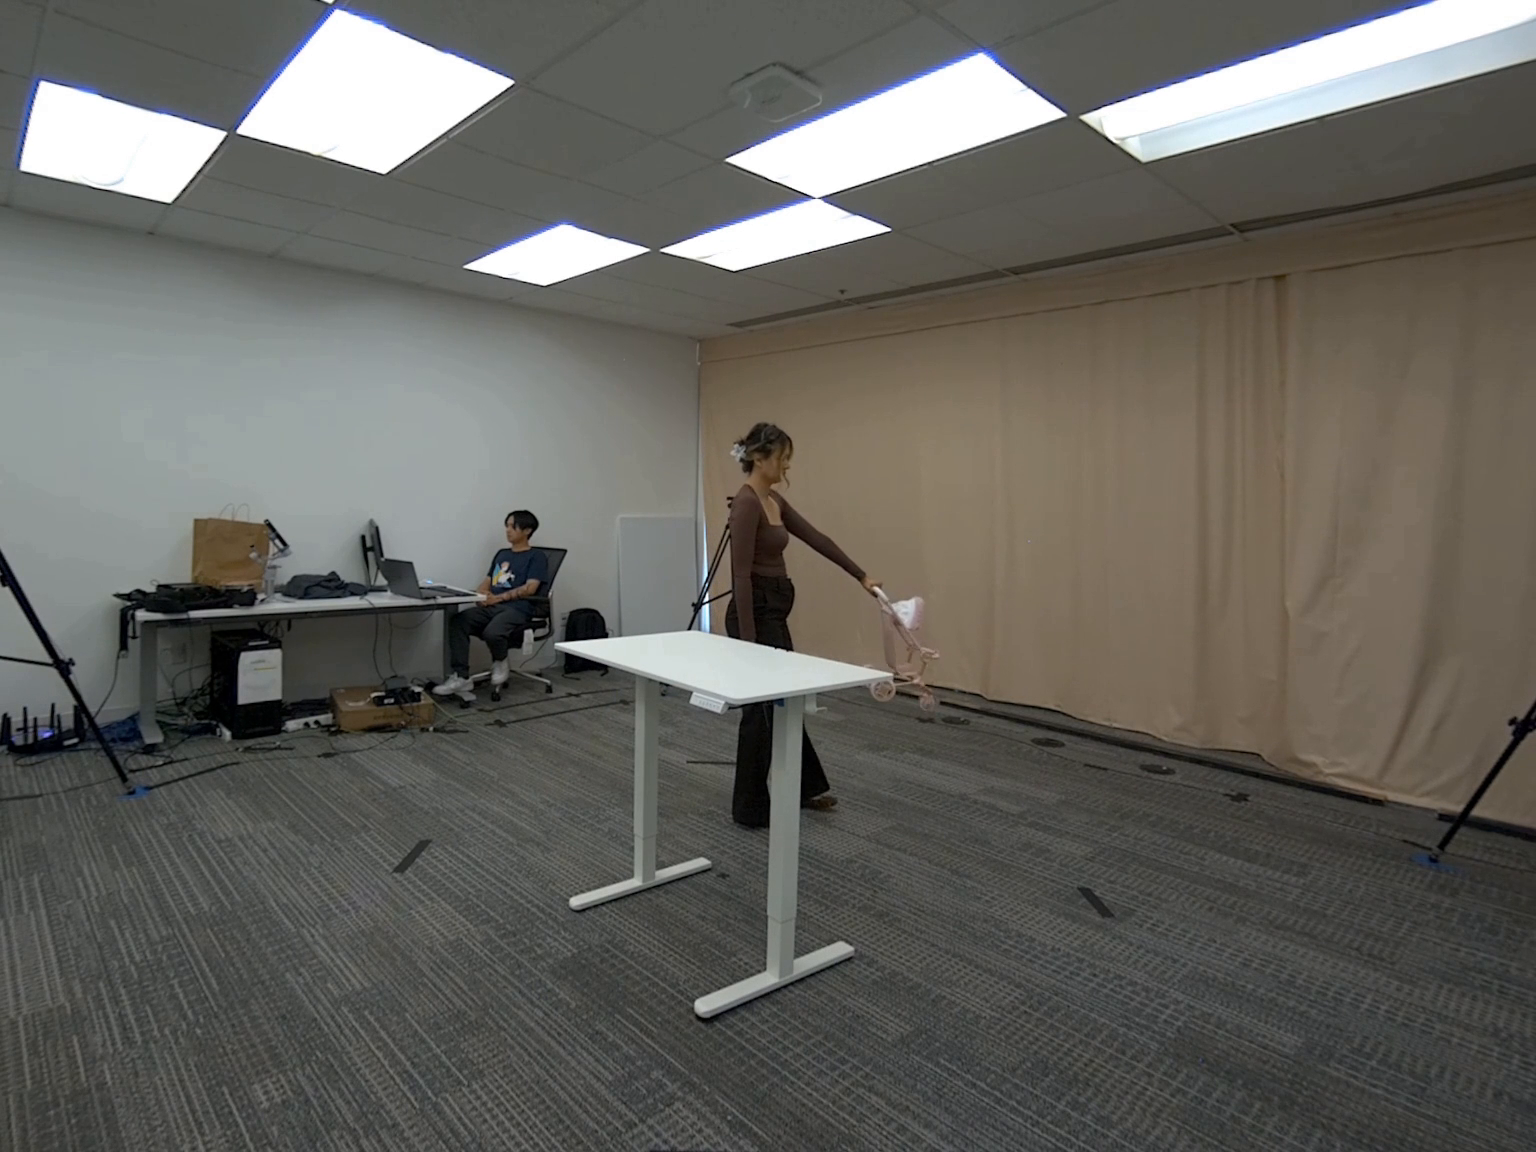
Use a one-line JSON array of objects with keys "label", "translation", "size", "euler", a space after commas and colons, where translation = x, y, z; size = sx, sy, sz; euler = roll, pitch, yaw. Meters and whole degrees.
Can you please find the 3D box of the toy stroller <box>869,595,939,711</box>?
[{"label": "toy stroller", "translation": [0.586, 0.323, 3.698], "size": [0.341, 0.534, 0.282], "euler": [5, 3, -1]}]
